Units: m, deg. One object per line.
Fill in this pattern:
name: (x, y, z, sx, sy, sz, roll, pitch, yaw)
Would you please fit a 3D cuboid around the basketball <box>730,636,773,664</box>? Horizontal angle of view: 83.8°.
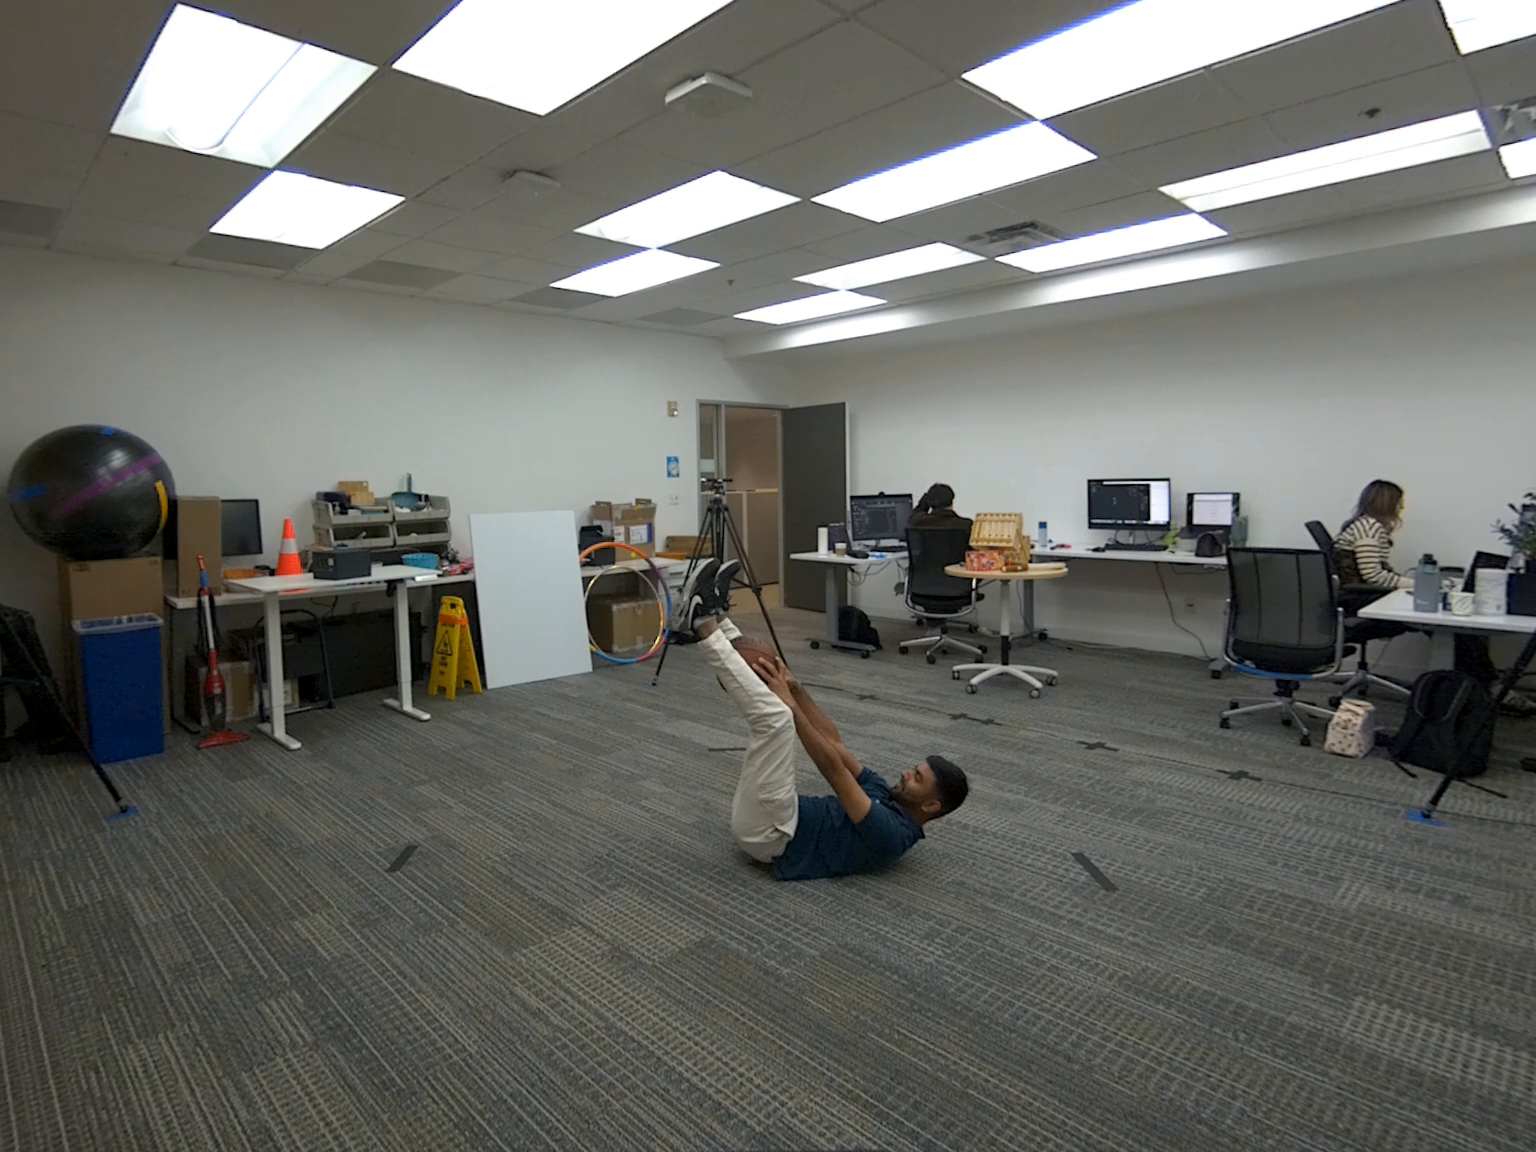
basketball: (-0.075, 0.331, 3.158, 0.236, 0.235, 0.237, -1, 5, -2)
